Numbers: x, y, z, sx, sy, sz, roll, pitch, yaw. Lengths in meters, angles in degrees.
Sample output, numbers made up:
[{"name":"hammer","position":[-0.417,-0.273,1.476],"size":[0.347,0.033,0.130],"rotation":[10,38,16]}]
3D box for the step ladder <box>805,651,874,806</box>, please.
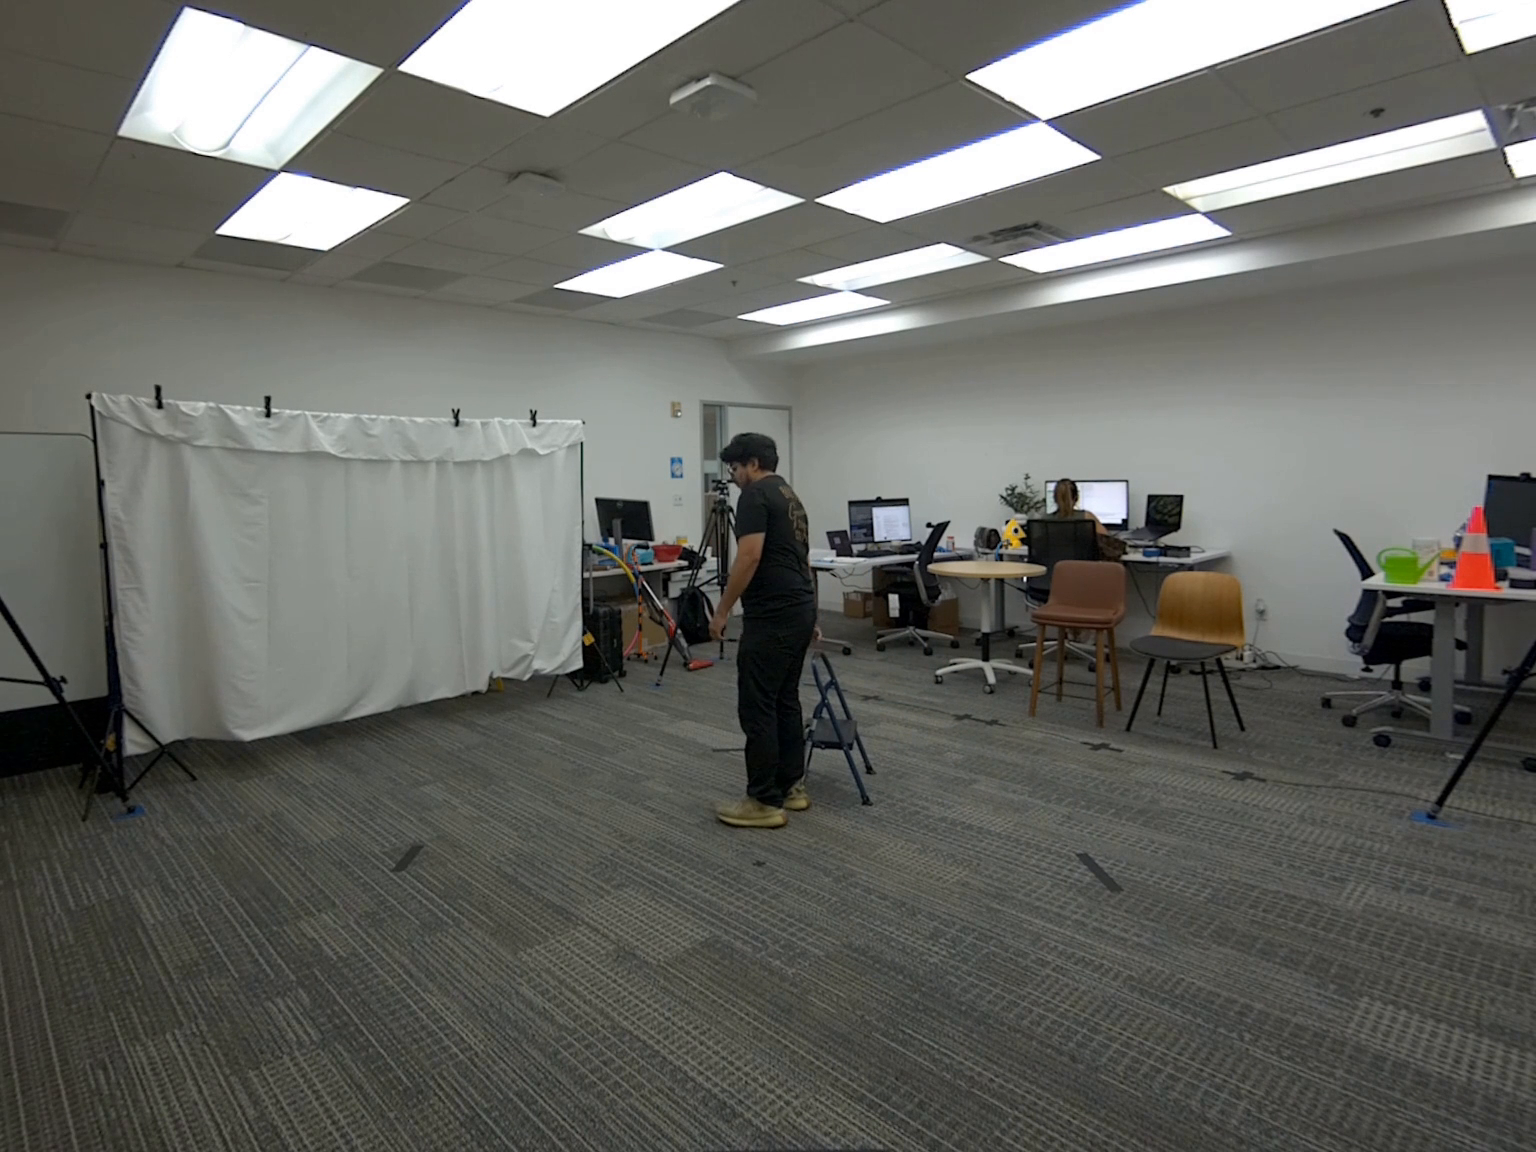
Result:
[{"name":"step ladder","position":[0.305,0.654,3.878],"size":[0.353,0.604,0.427],"rotation":[0,4,10]}]
